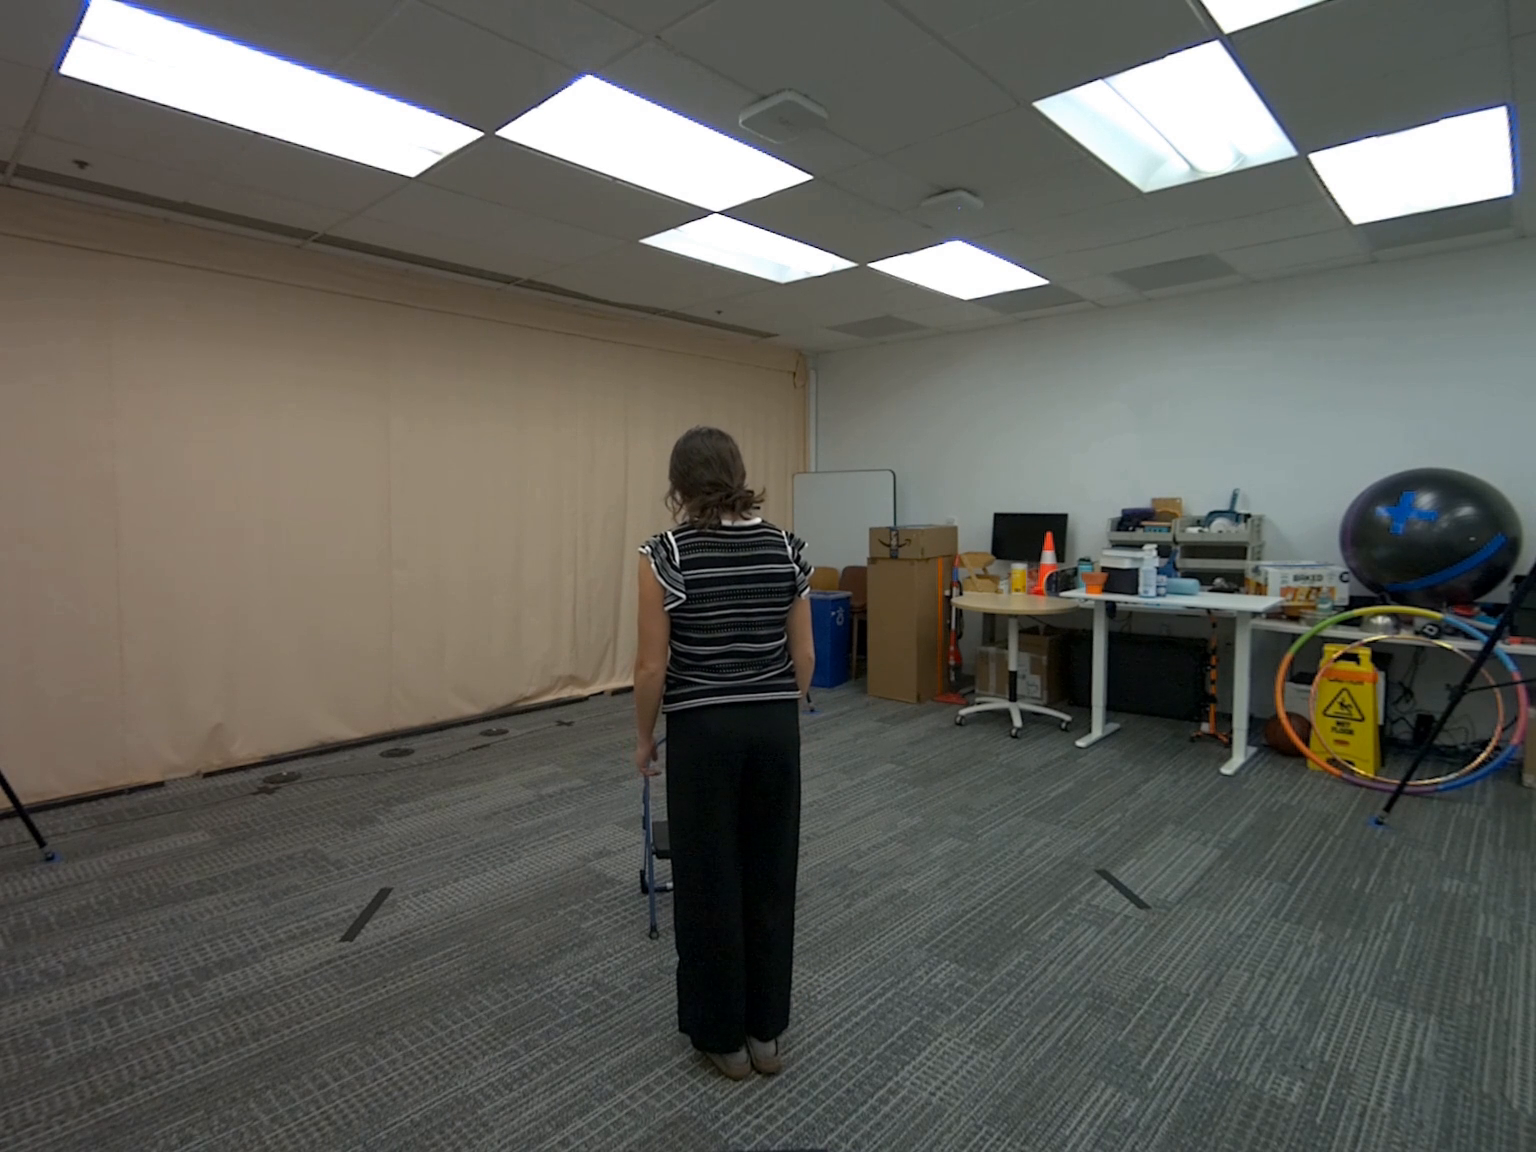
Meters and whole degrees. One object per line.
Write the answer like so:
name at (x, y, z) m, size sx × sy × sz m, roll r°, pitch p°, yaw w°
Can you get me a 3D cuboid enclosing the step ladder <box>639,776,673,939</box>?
step ladder at (-0.219, 0.851, 2.908) m, size 0.425 × 0.605 × 0.355 m, roll -1°, pitch 4°, yaw -13°
